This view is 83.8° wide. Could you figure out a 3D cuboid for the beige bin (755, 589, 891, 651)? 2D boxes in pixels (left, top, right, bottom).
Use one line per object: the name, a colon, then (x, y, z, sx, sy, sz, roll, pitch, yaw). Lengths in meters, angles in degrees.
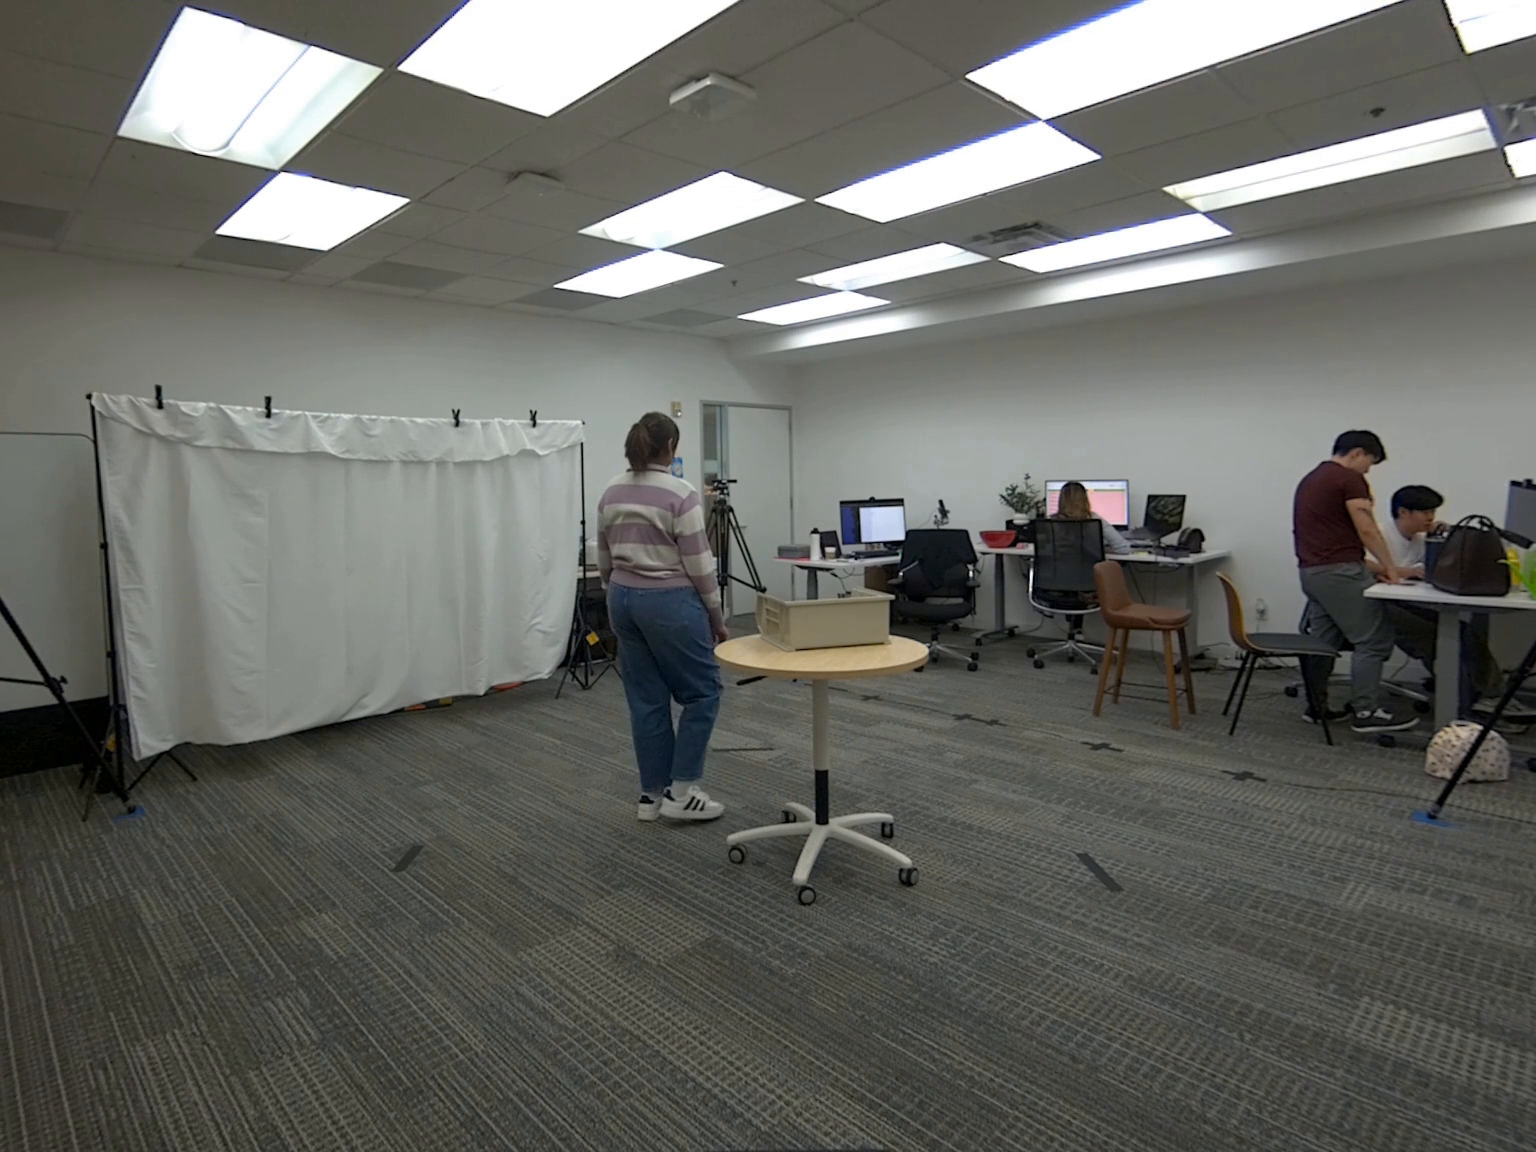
beige bin: (0.205, 0.158, 3.245, 0.416, 0.188, 0.384, -2, 6, -16)
